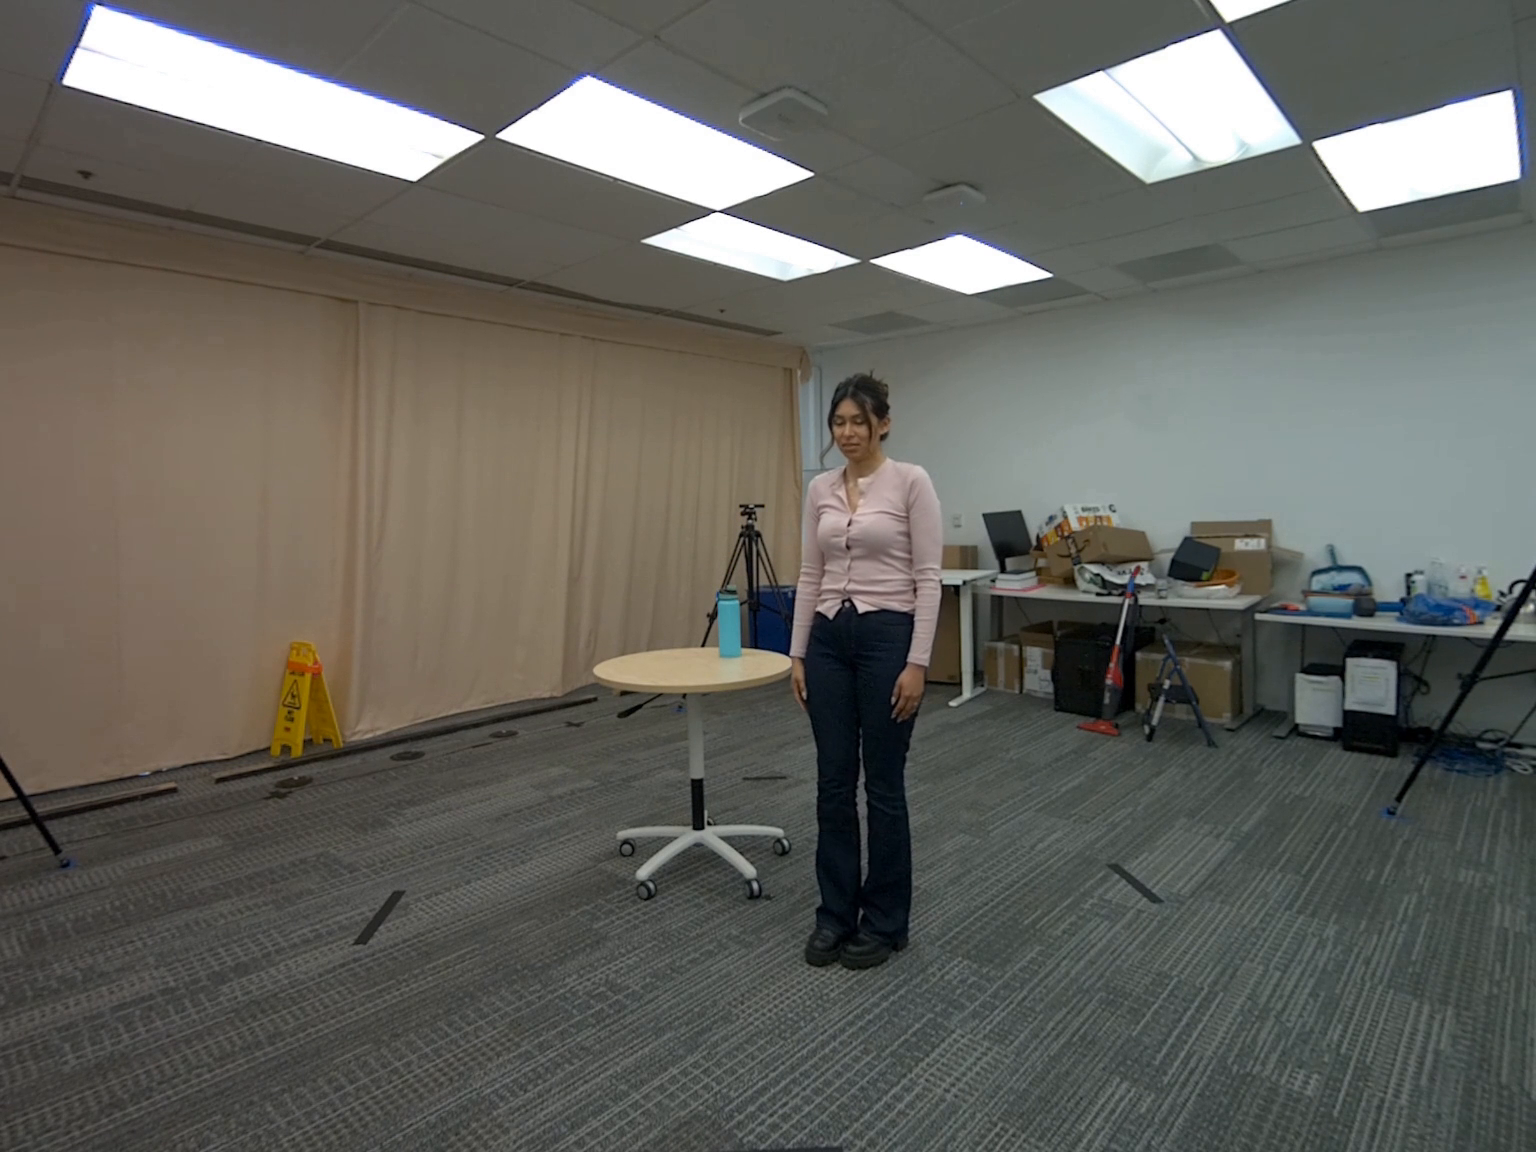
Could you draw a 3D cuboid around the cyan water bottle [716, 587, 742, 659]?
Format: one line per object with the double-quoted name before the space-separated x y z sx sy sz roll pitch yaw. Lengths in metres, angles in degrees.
"cyan water bottle" -0.160 0.183 3.390 0.092 0.283 0.092 -2 3 -2
